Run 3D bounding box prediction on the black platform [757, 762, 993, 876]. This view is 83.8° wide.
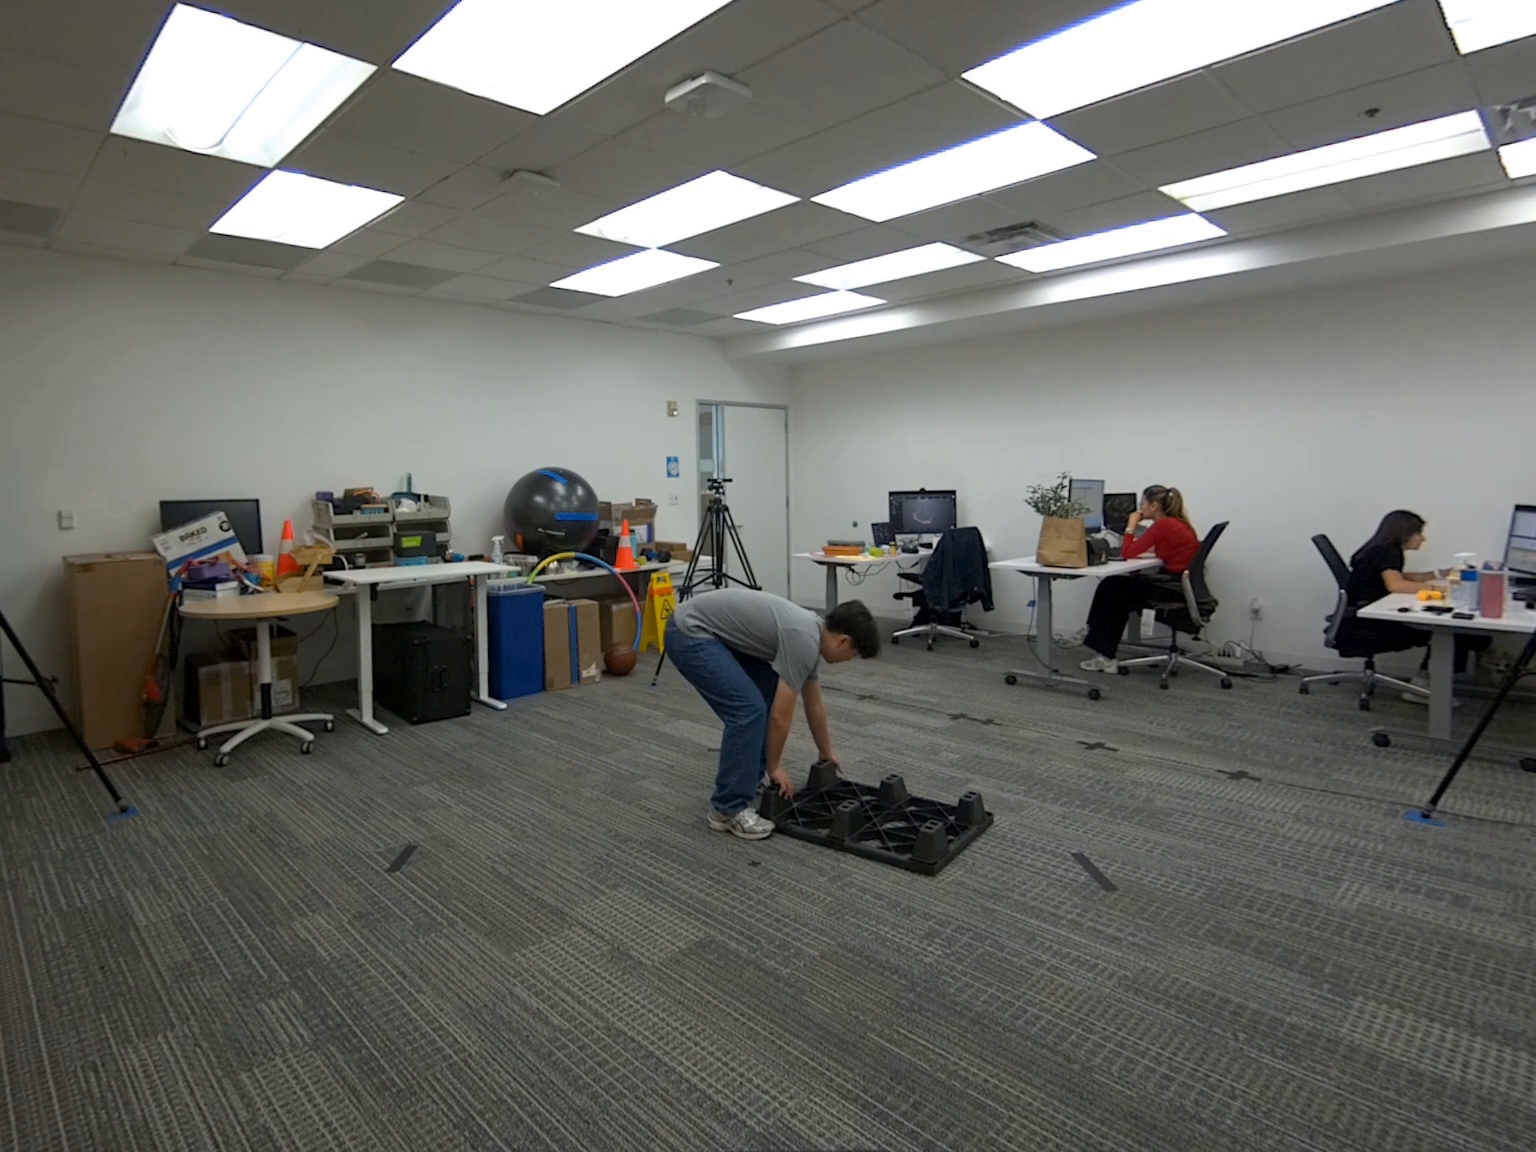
[{"bbox_3d":[0.423,0.933,3.441,0.829,0.143,0.590,4,8,36],"label":"black platform"}]
